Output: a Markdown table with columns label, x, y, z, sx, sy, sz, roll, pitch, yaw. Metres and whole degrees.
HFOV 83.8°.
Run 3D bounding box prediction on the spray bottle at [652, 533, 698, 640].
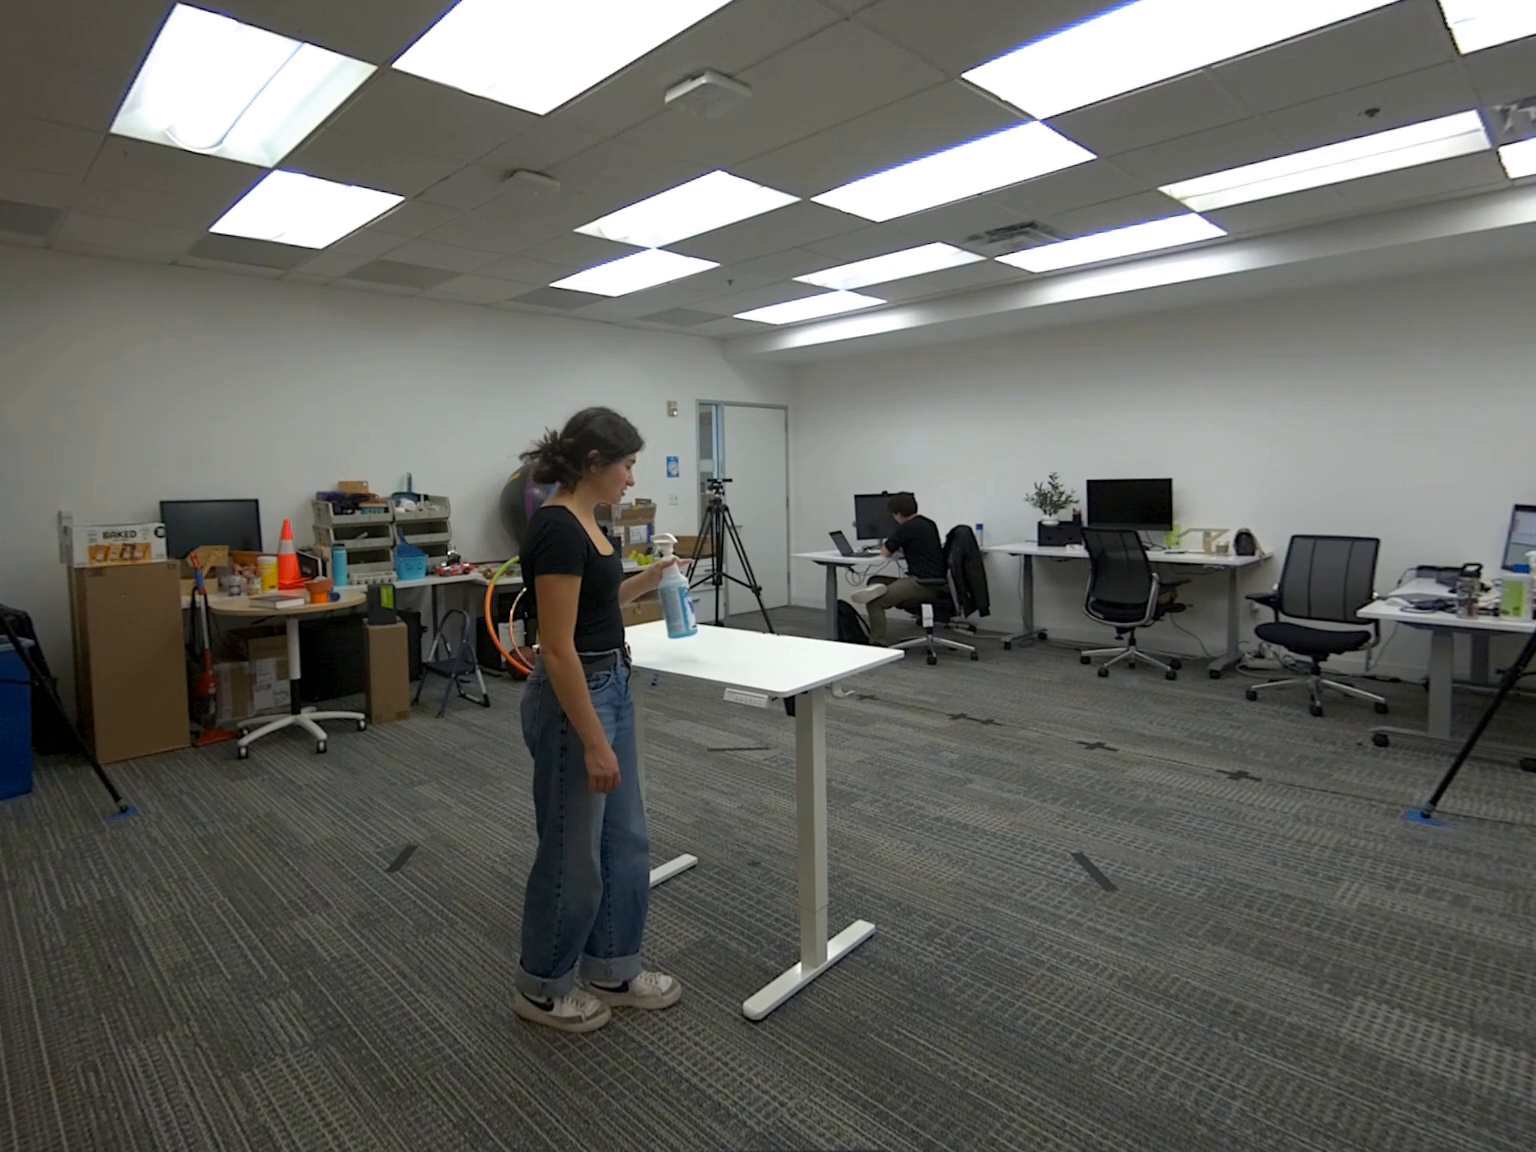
| label | x | y | z | sx | sy | sz | roll | pitch | yaw |
| --- | --- | --- | --- | --- | --- | --- | --- | --- | --- |
| spray bottle | -0.267 | 0.028 | 2.419 | 0.085 | 0.297 | 0.092 | -11 | 0 | -27 |
